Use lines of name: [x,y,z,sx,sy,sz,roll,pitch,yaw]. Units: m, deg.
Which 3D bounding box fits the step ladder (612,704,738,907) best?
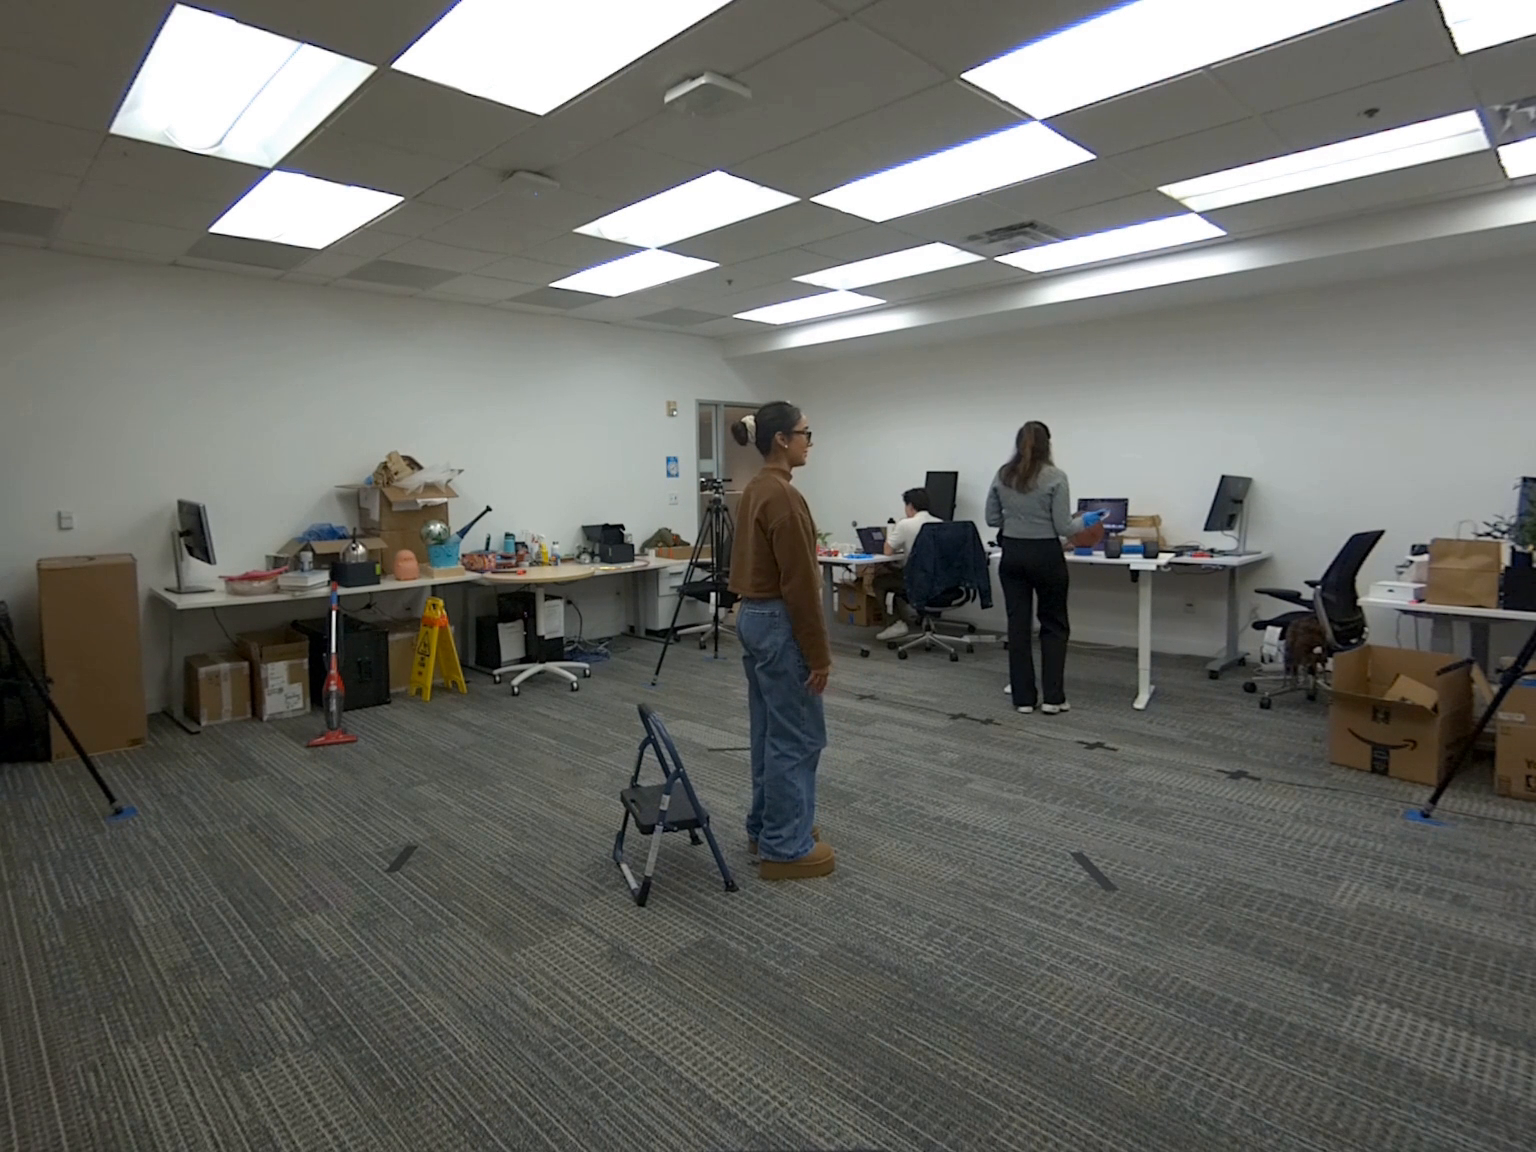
step ladder: [-0.341,0.760,3.027,0.343,0.604,0.440,-2,5,-22]
